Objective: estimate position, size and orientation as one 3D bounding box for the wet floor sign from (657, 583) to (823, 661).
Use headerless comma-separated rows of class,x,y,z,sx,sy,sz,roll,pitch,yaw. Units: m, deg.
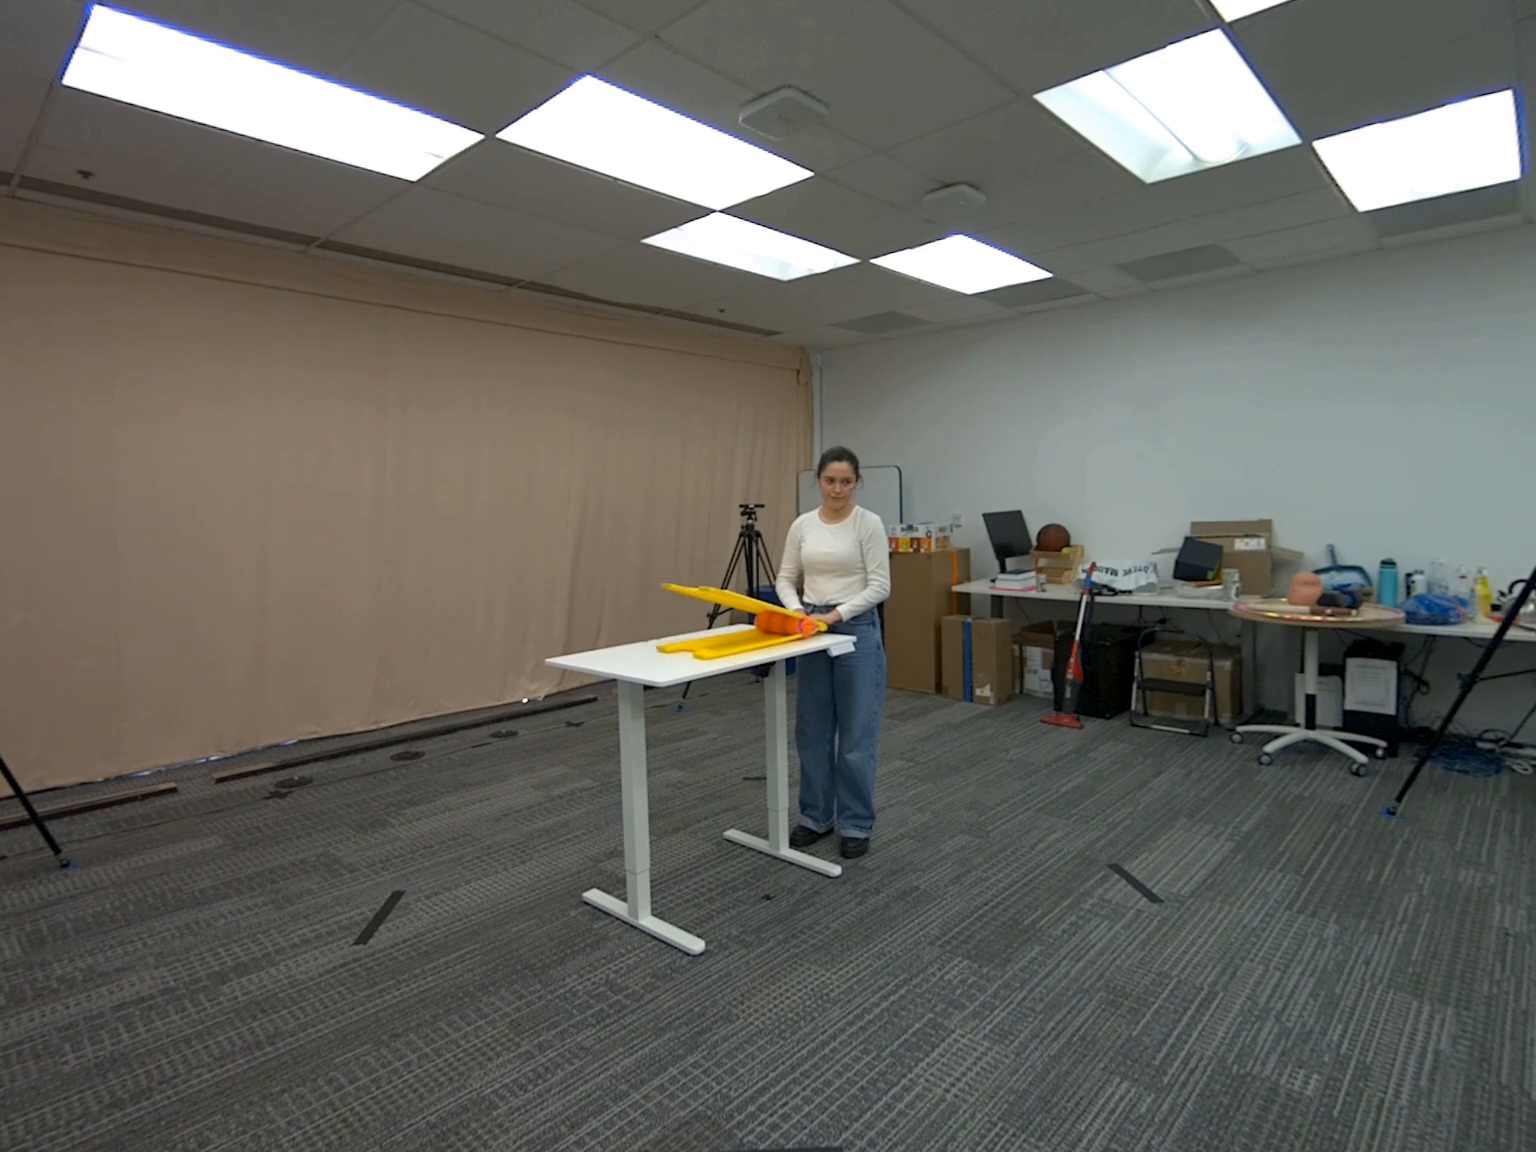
wet floor sign,-0.057,0.182,3.092,0.625,0.290,0.291,4,-1,-42
